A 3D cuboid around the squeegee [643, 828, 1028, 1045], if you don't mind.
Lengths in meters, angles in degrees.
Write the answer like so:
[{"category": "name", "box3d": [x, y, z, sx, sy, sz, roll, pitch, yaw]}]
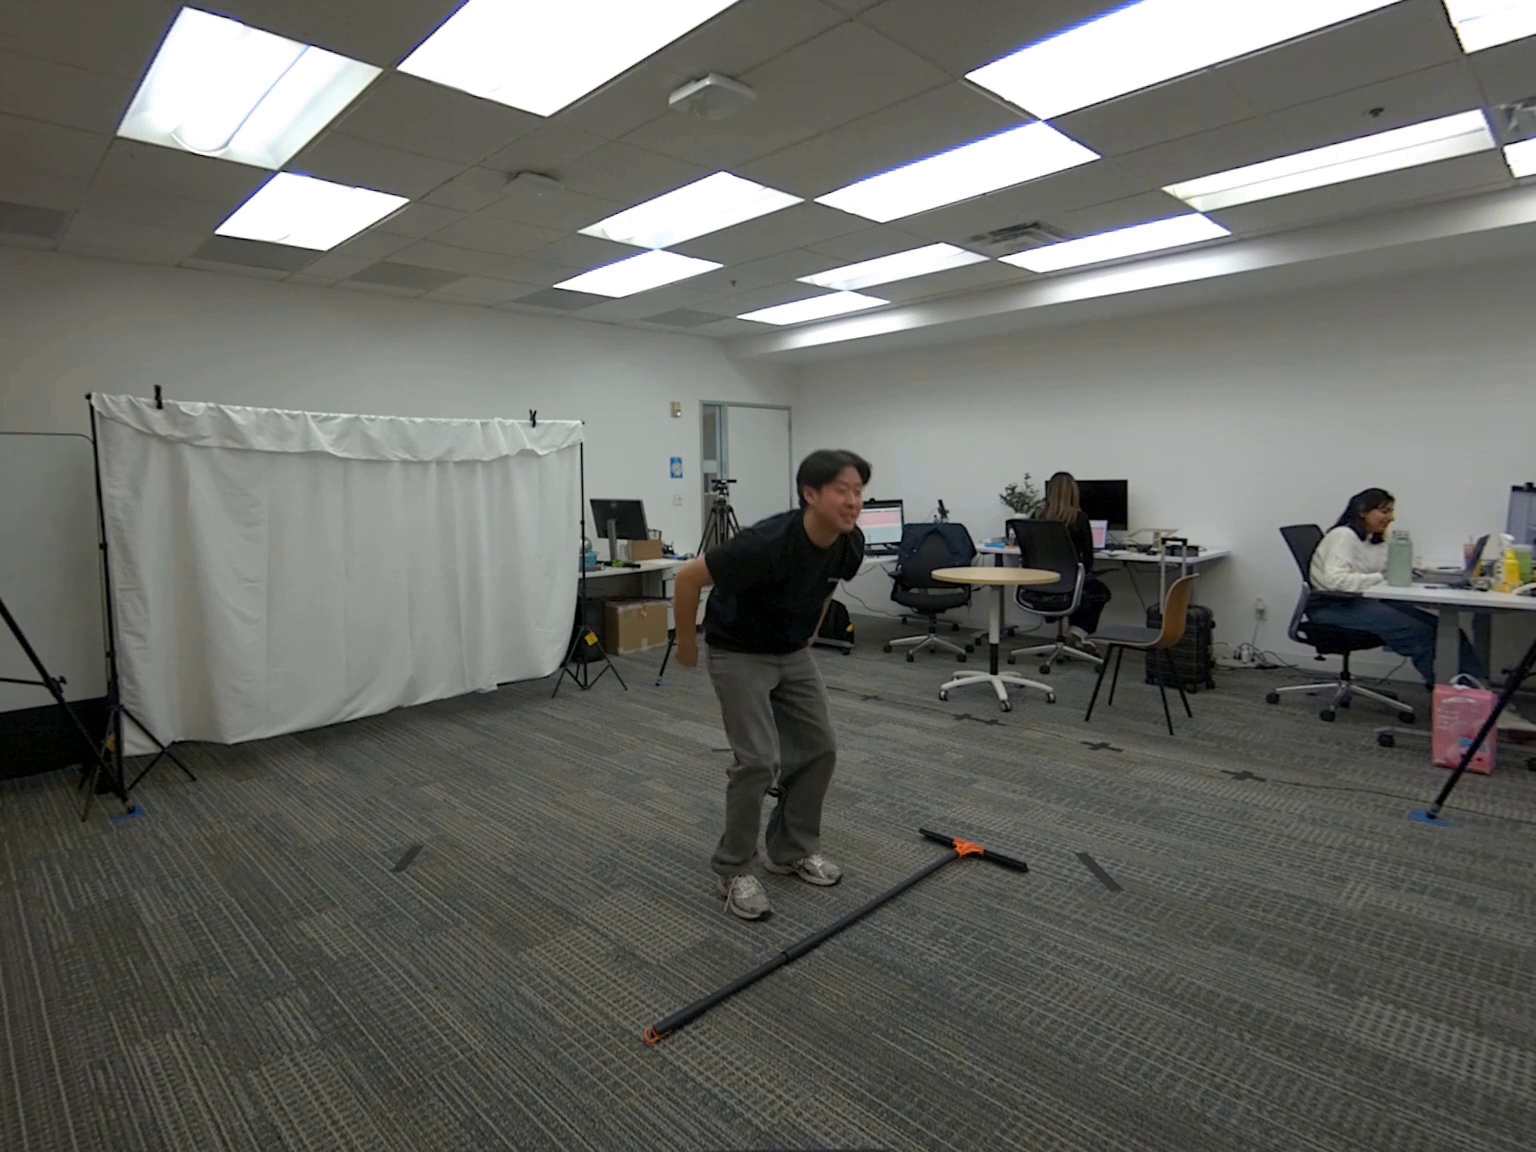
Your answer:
[{"category": "squeegee", "box3d": [0.233, 1.061, 2.648, 1.499, 0.053, 0.451, -9, 9, -44]}]
